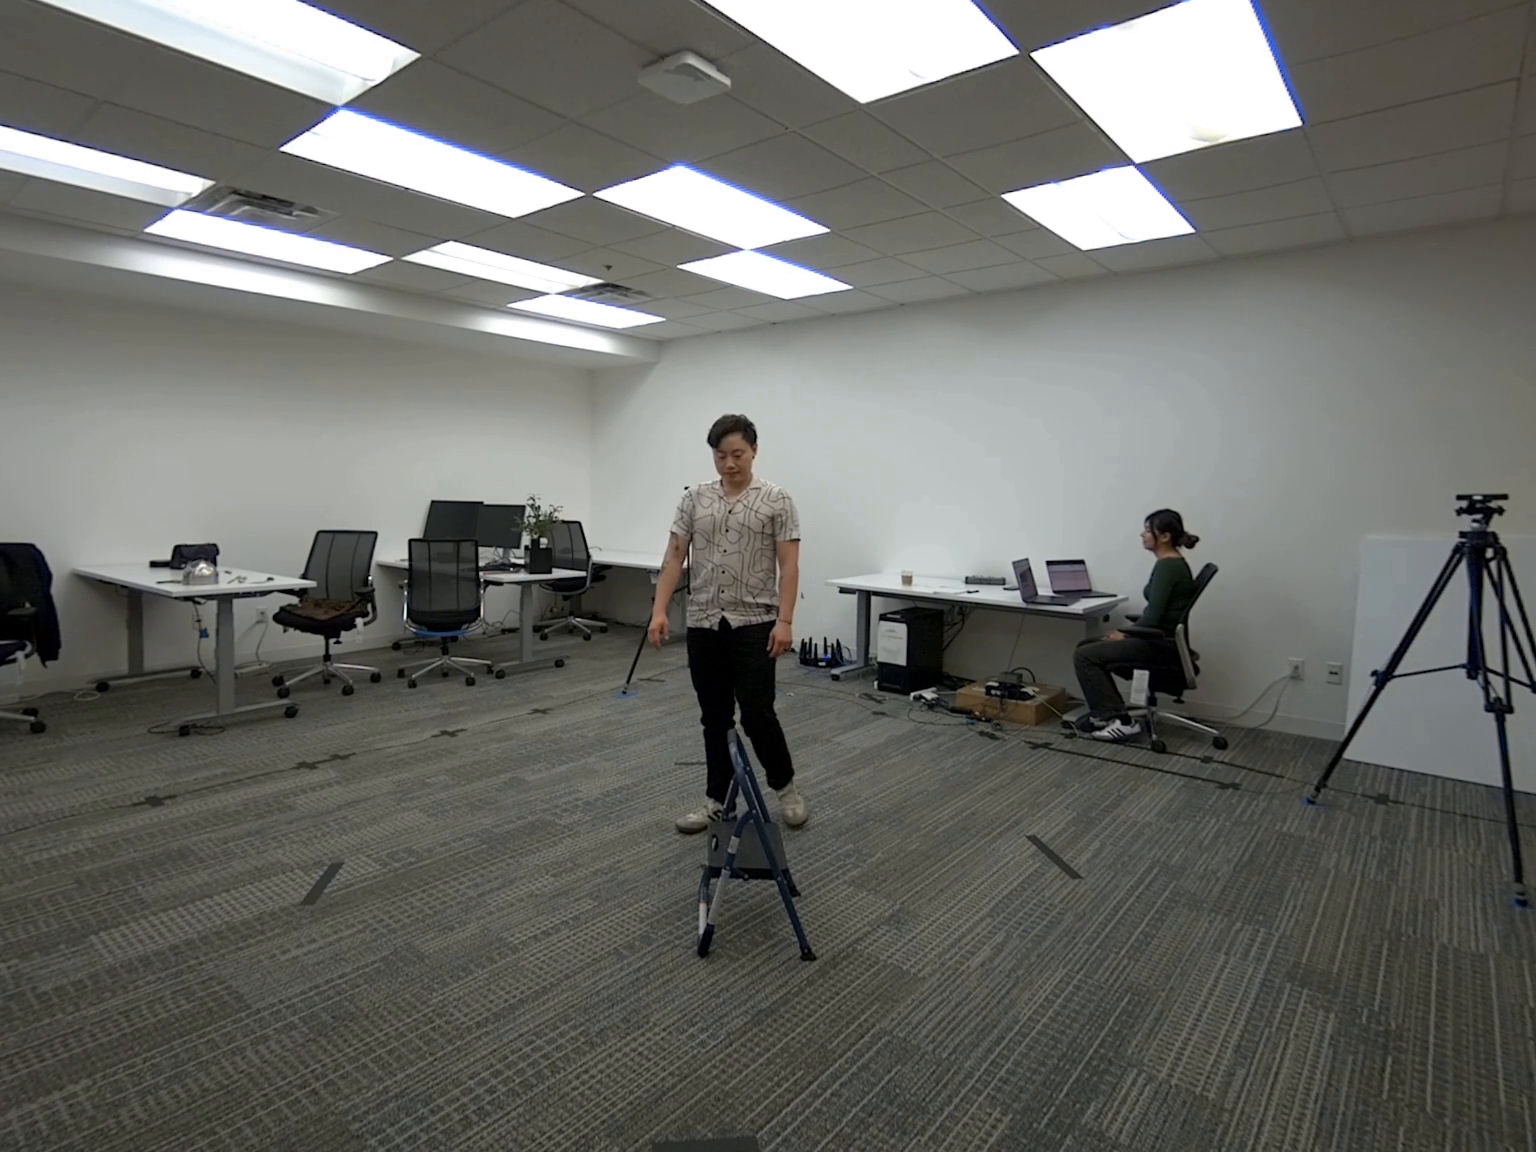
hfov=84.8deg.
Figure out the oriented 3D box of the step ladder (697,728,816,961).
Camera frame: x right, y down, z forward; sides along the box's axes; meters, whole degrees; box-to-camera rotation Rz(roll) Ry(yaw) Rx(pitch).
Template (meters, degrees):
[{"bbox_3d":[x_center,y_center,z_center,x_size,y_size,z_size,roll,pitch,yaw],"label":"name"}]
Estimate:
[{"bbox_3d":[-0.050,0.803,2.699,0.348,0.604,0.434,1,4,-4],"label":"step ladder"}]
